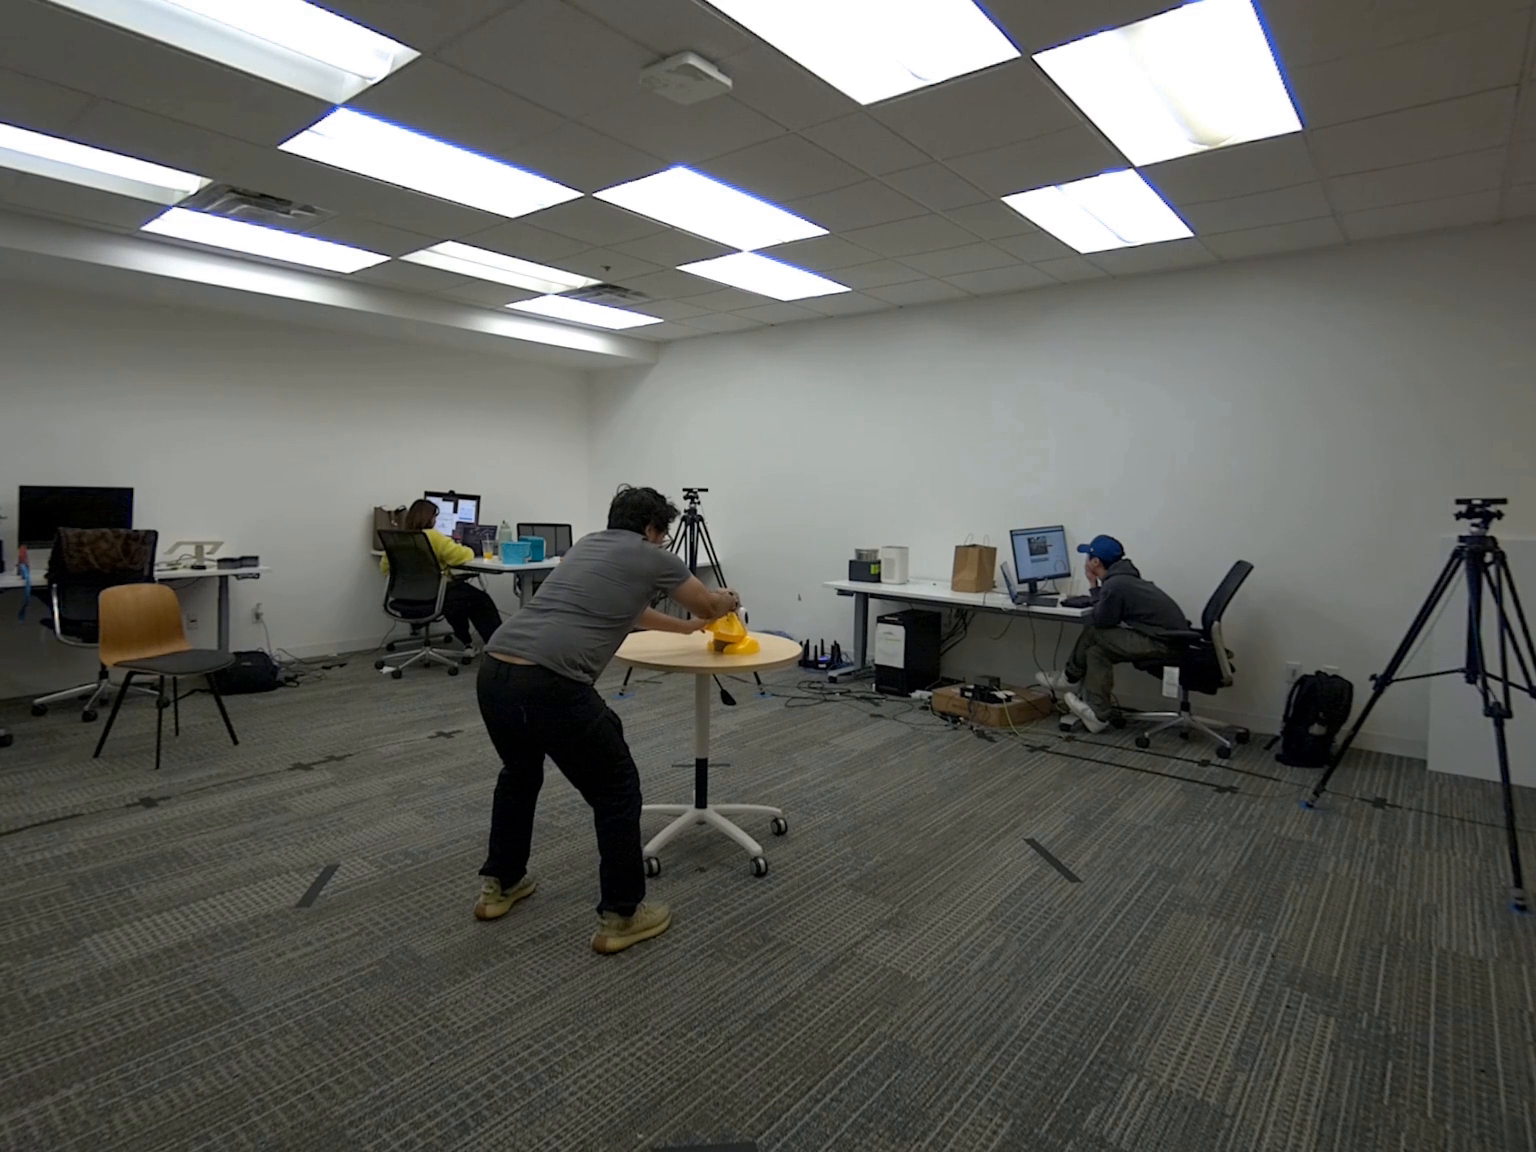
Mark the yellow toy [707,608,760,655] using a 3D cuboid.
[{"bbox_3d":[-0.149,0.166,3.242,0.212,0.230,0.187,5,6,44],"label":"yellow toy"}]
